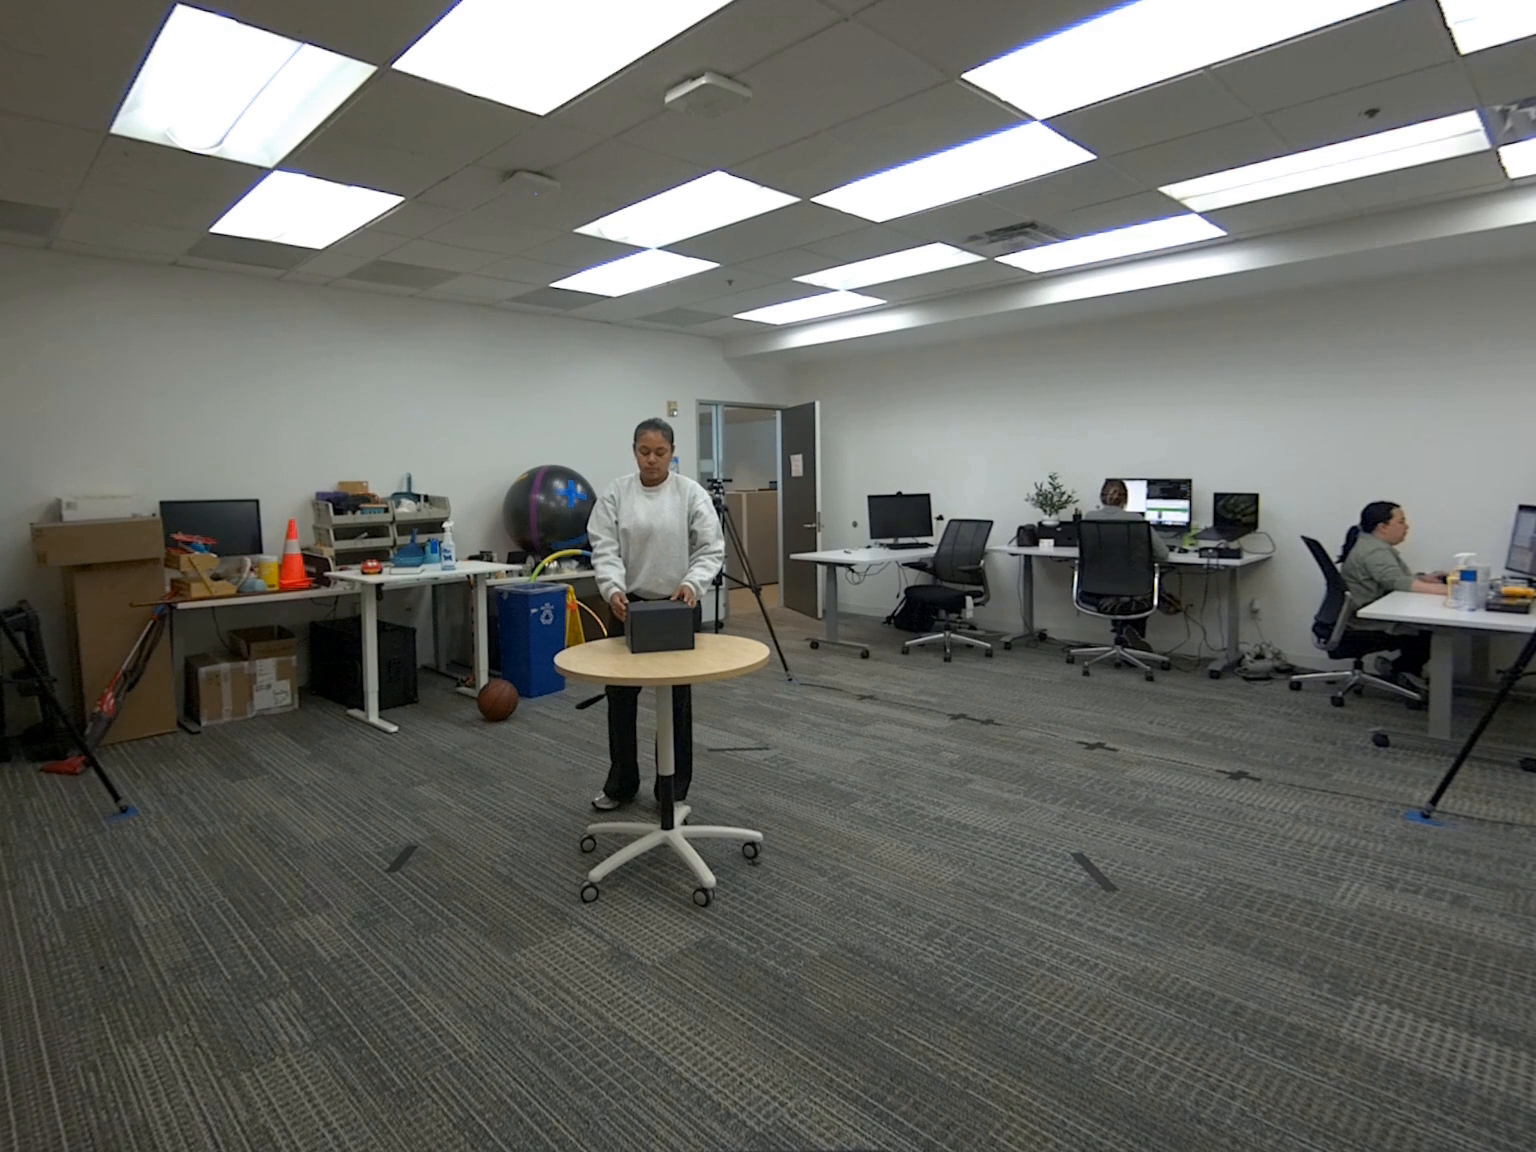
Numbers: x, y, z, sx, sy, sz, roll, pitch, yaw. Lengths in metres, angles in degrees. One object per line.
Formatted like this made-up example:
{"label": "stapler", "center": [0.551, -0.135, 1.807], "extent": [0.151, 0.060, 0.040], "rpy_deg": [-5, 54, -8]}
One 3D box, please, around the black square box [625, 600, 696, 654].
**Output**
{"label": "black square box", "center": [-0.412, 0.185, 3.166], "extent": [0.225, 0.155, 0.220], "rpy_deg": [-3, 6, -13]}
